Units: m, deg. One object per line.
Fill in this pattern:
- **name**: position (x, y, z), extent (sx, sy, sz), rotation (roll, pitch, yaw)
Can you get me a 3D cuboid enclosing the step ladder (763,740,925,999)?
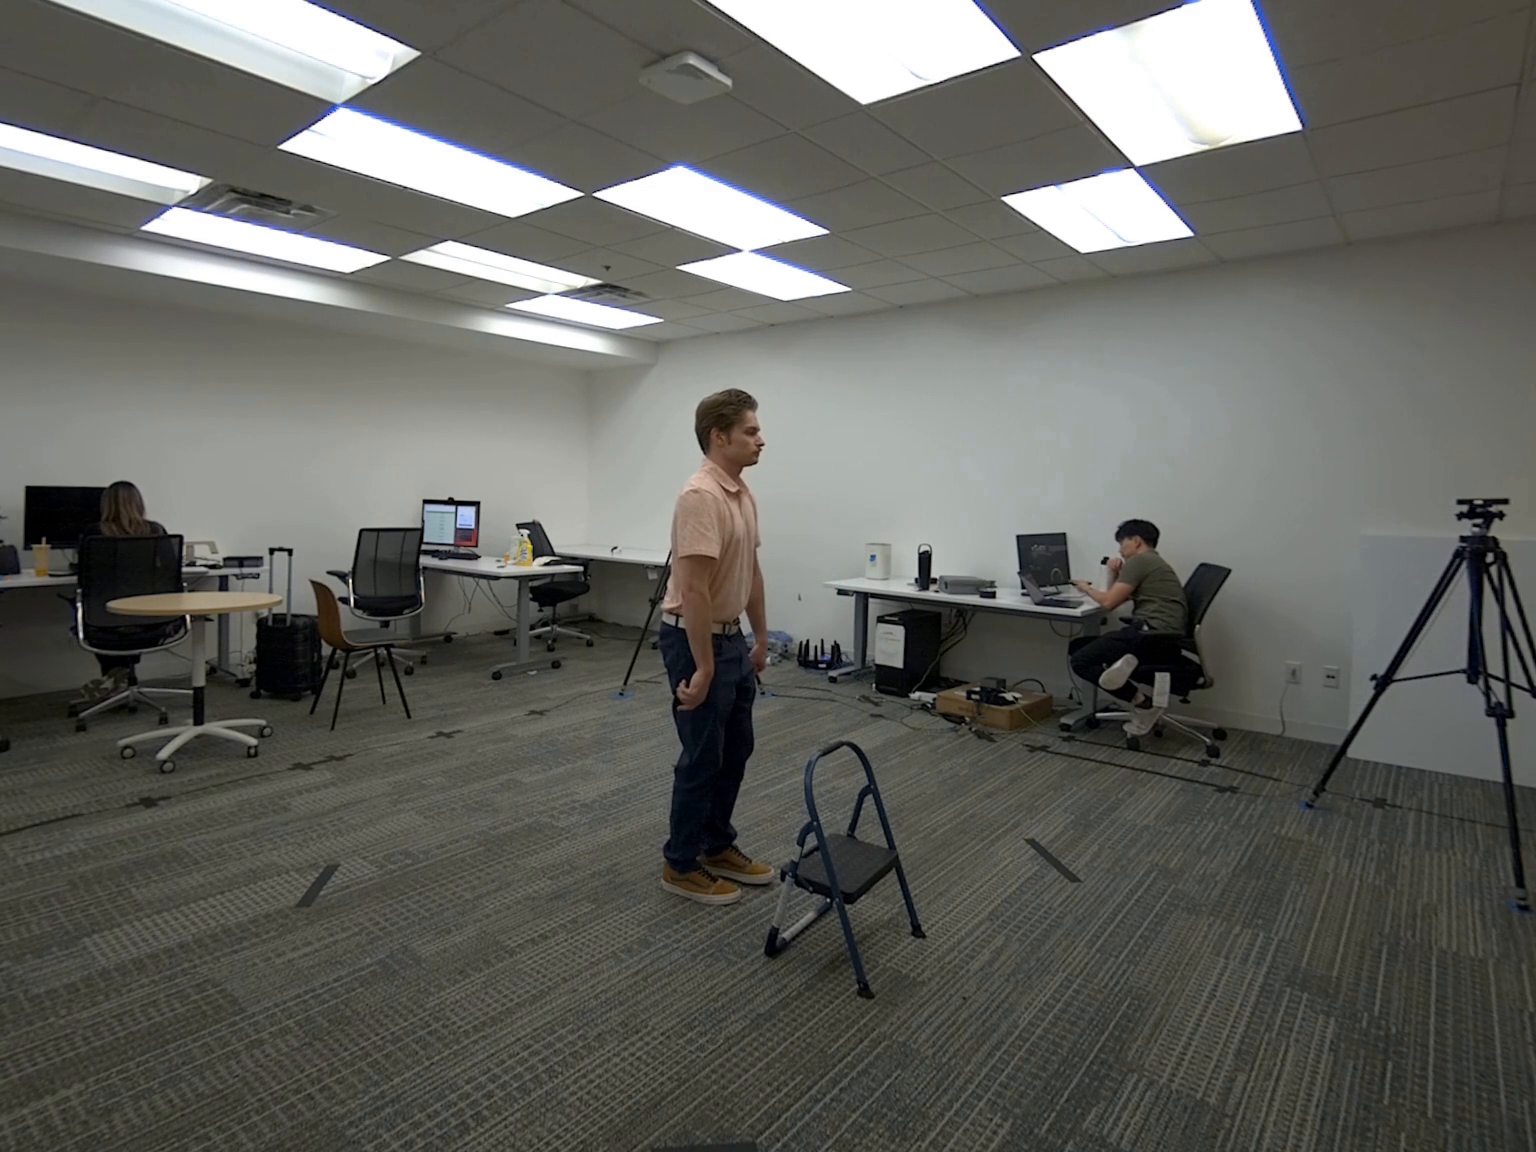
- **step ladder**: position (0.244, 0.828, 2.589), extent (0.360, 0.604, 0.419), rotation (4, 4, 32)
